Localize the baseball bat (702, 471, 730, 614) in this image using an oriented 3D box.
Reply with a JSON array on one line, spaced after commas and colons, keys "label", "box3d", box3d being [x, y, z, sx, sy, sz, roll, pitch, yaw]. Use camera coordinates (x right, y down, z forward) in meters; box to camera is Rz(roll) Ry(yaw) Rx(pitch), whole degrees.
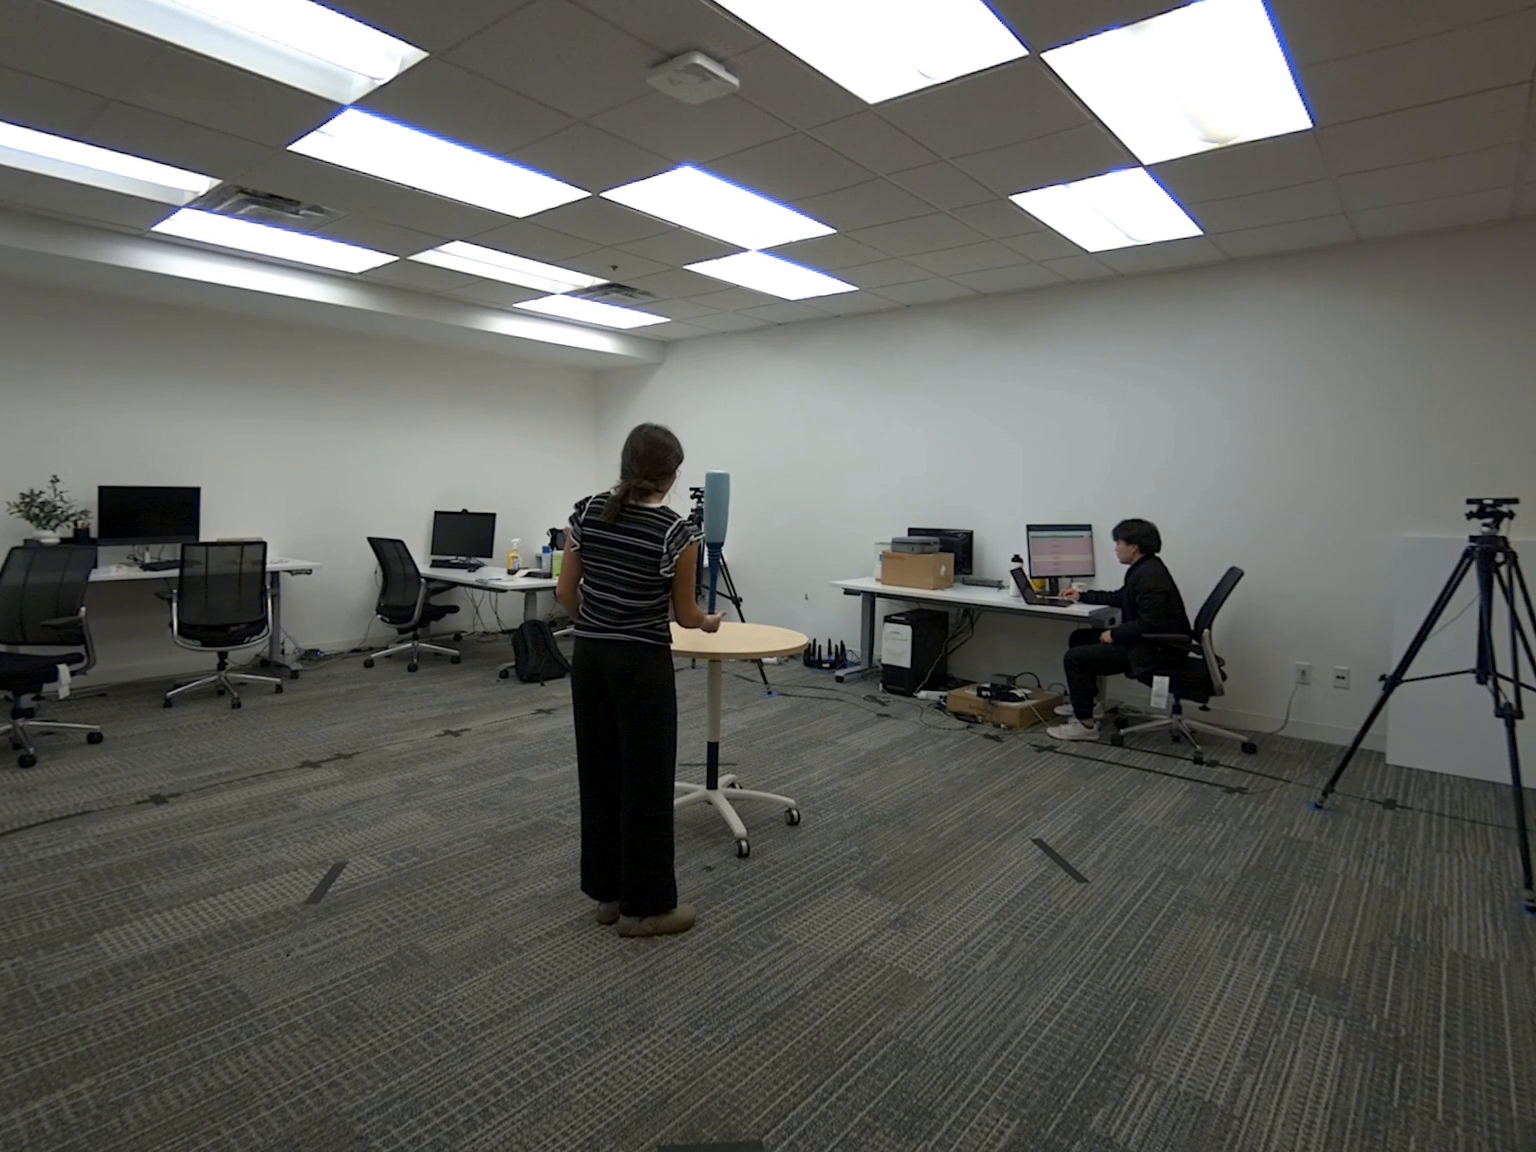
[{"label": "baseball bat", "box3d": [-0.206, -0.105, 3.001, 0.089, 0.541, 0.089, 5, 3, -2]}]
